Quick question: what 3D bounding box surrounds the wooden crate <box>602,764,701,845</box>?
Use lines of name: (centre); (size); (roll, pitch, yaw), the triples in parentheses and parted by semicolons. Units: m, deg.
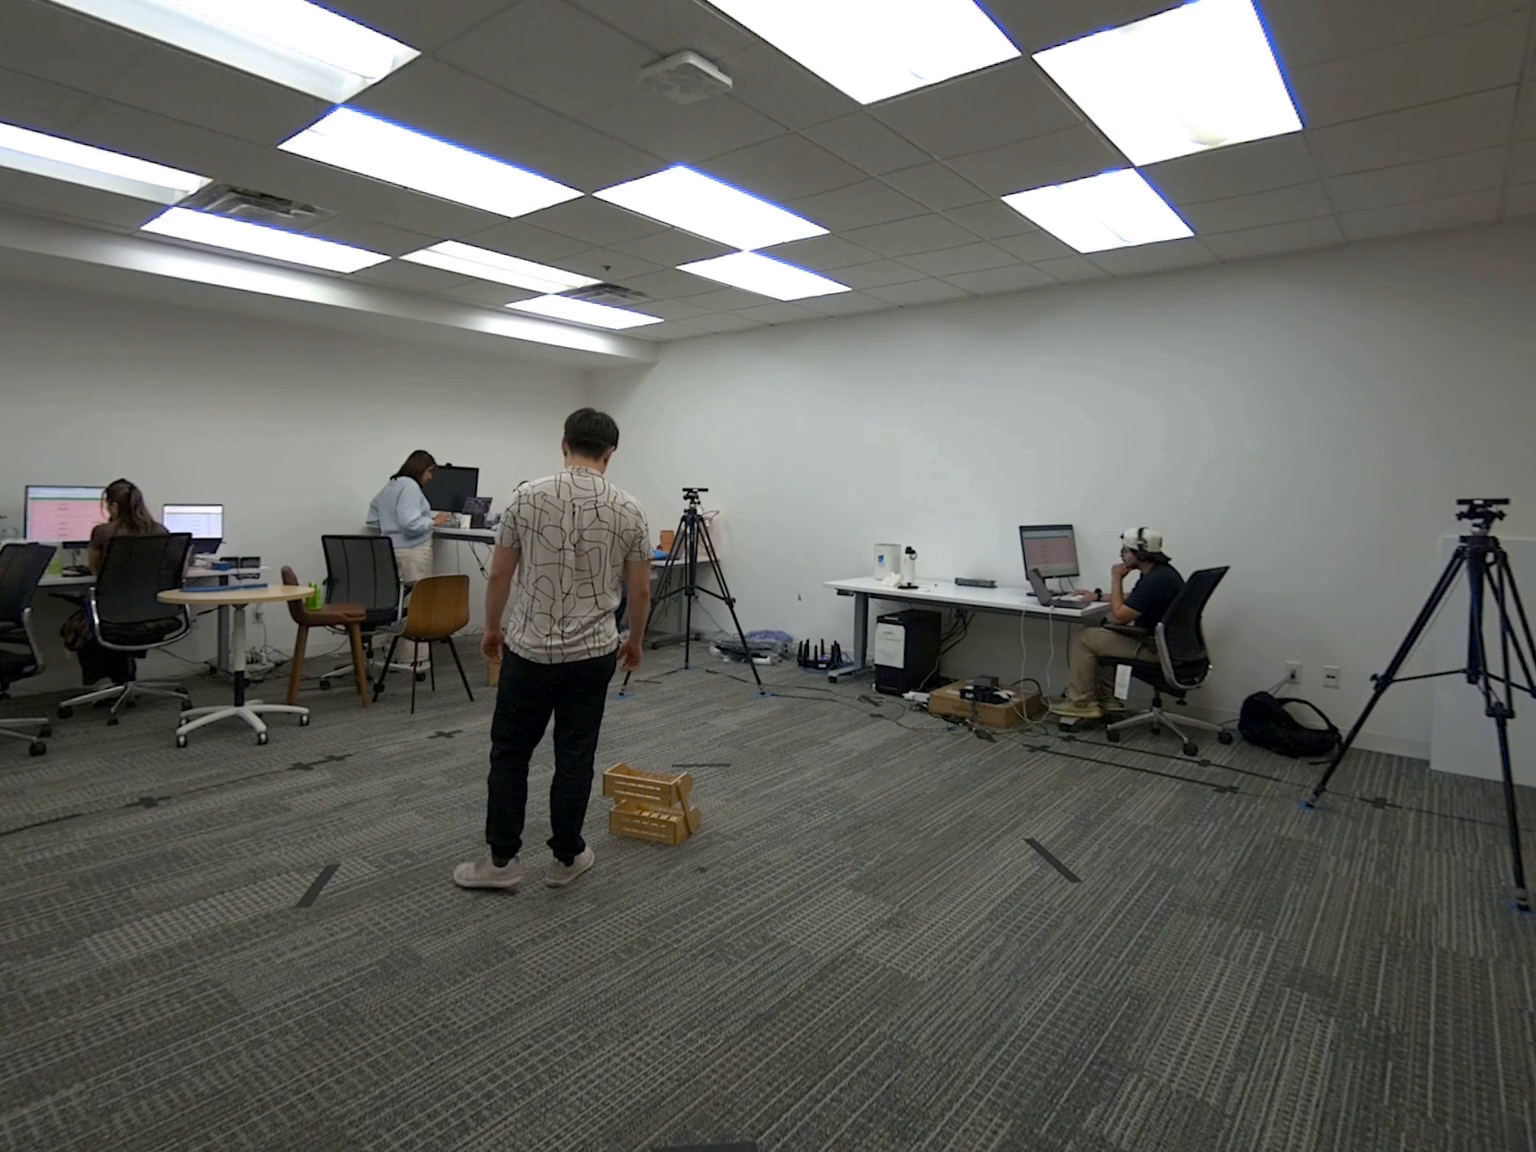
wooden crate: (-0.478, 0.899, 3.456); (0.332, 0.272, 0.296); (3, 4, 21)
